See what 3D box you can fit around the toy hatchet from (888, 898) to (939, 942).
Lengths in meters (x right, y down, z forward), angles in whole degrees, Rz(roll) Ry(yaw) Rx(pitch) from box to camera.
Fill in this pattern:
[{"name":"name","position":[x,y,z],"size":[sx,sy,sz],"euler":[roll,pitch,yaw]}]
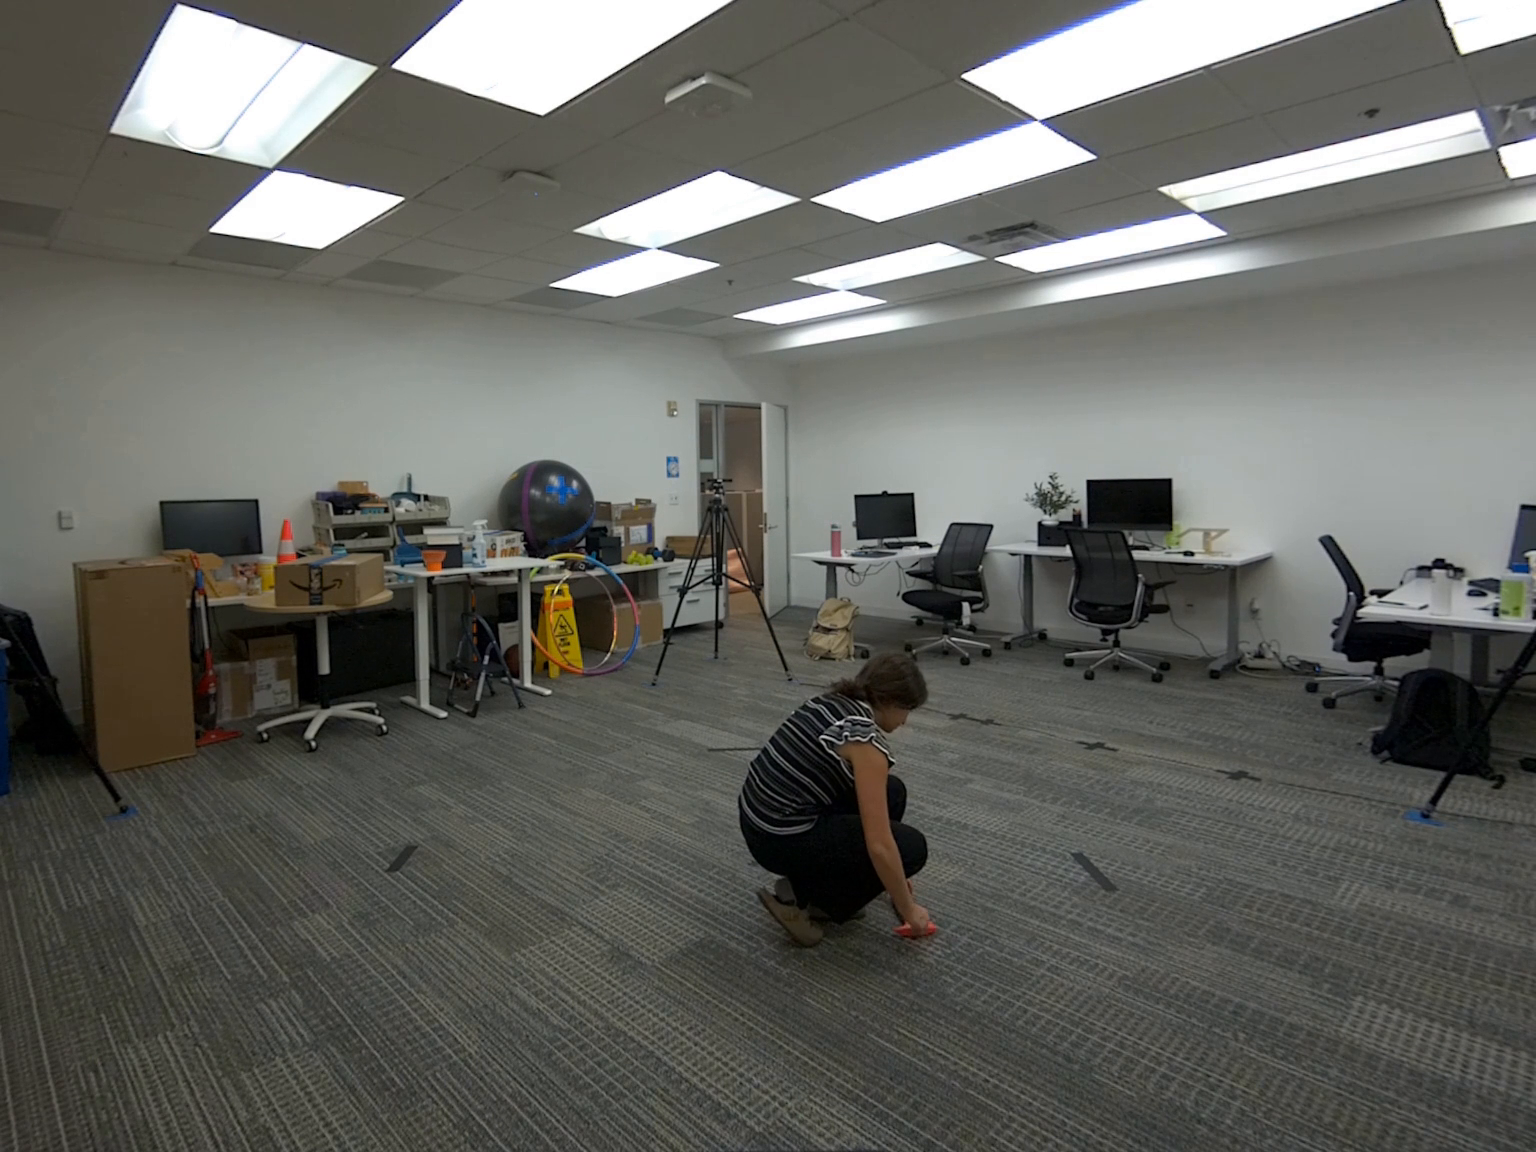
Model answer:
[{"name":"toy hatchet","position":[0.459,1.067,2.711],"size":[0.132,0.029,0.269],"euler":[-3,6,8]}]
